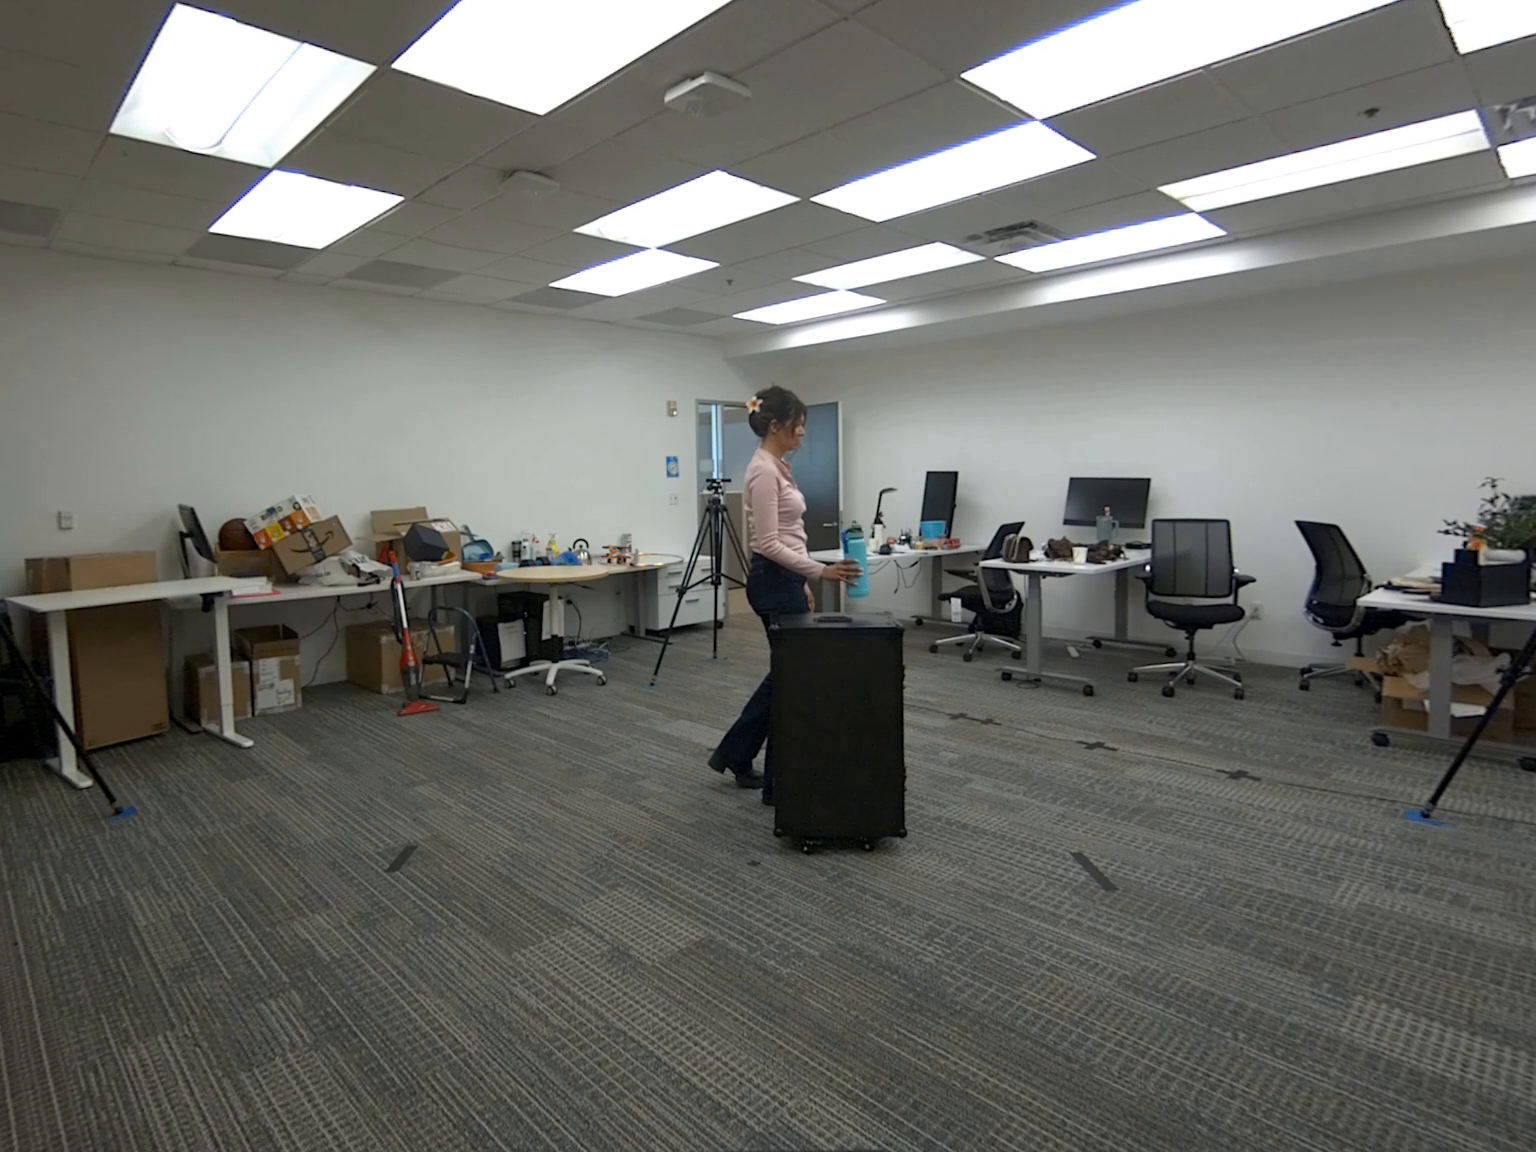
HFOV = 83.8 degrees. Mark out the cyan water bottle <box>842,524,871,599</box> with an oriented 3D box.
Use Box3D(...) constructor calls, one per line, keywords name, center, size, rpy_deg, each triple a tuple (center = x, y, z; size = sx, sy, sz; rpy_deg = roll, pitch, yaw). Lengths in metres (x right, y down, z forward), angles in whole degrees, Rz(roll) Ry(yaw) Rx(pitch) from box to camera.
Box3D(name="cyan water bottle", center=(0.342, -0.060, 3.338), size=(0.092, 0.282, 0.093), rpy_deg=(-7, 5, -1))
